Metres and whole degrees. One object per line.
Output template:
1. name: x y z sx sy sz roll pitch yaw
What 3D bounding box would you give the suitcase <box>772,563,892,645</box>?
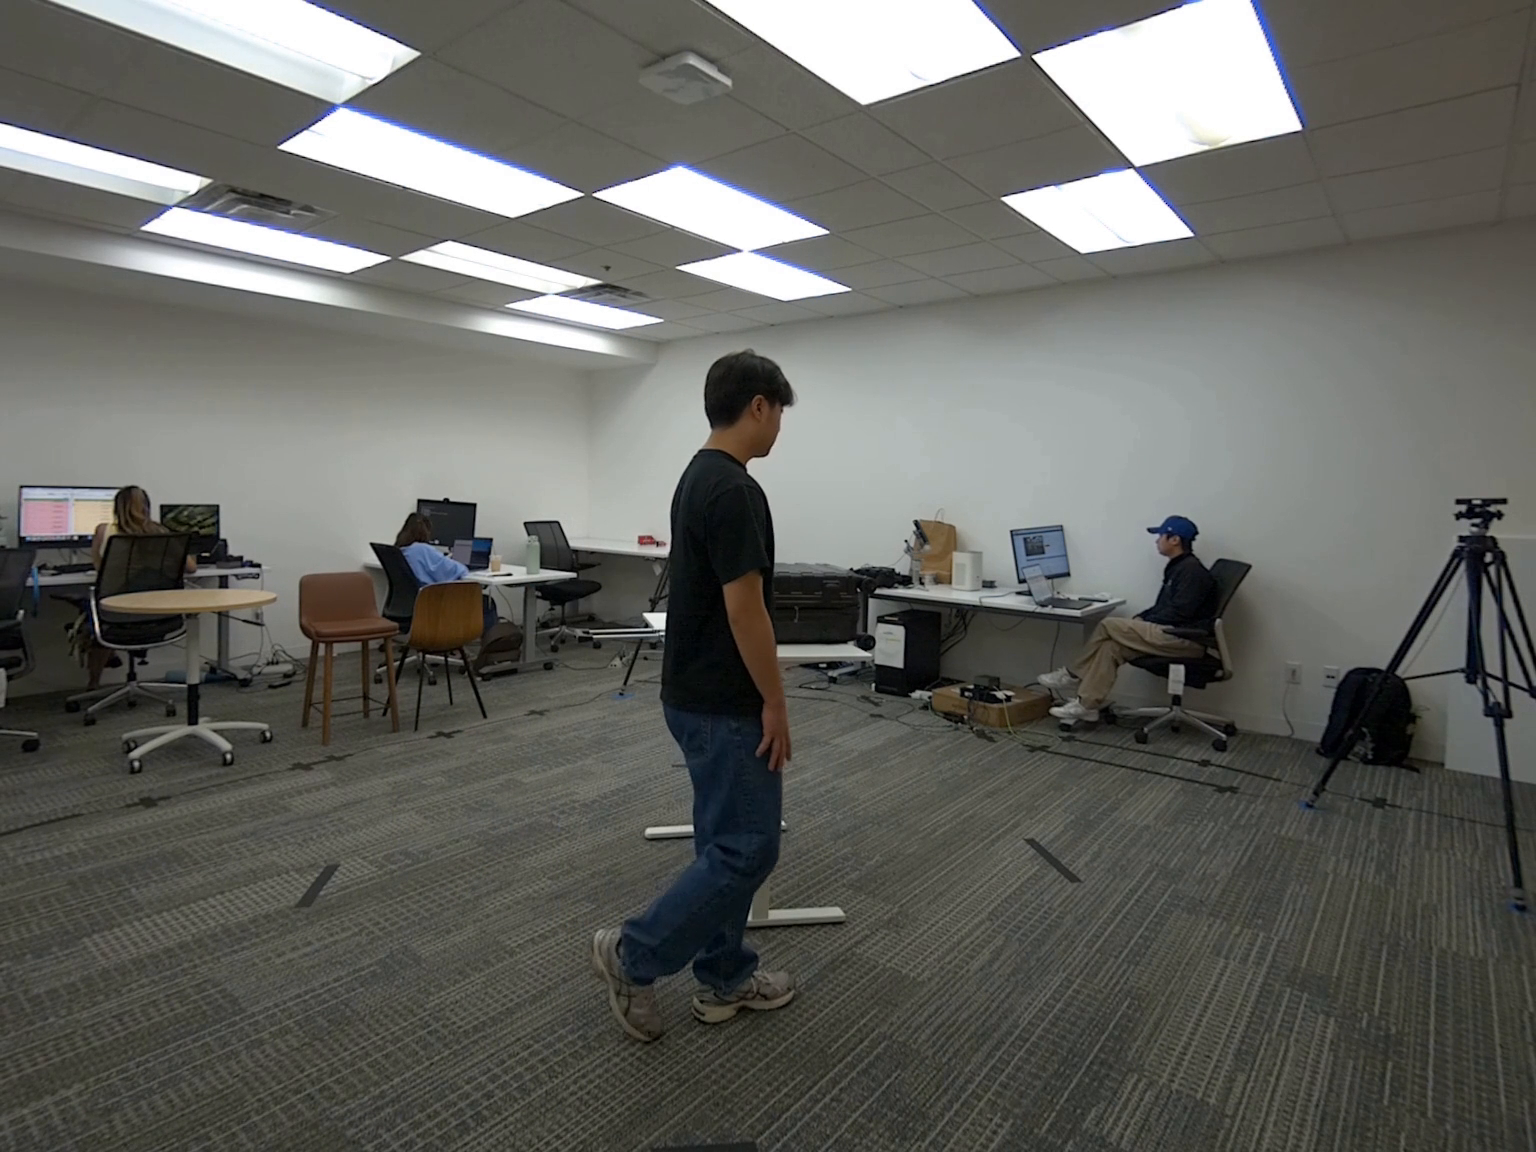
1. suitcase: -0.147 0.089 2.884 0.963 0.256 0.391 2 4 -15
